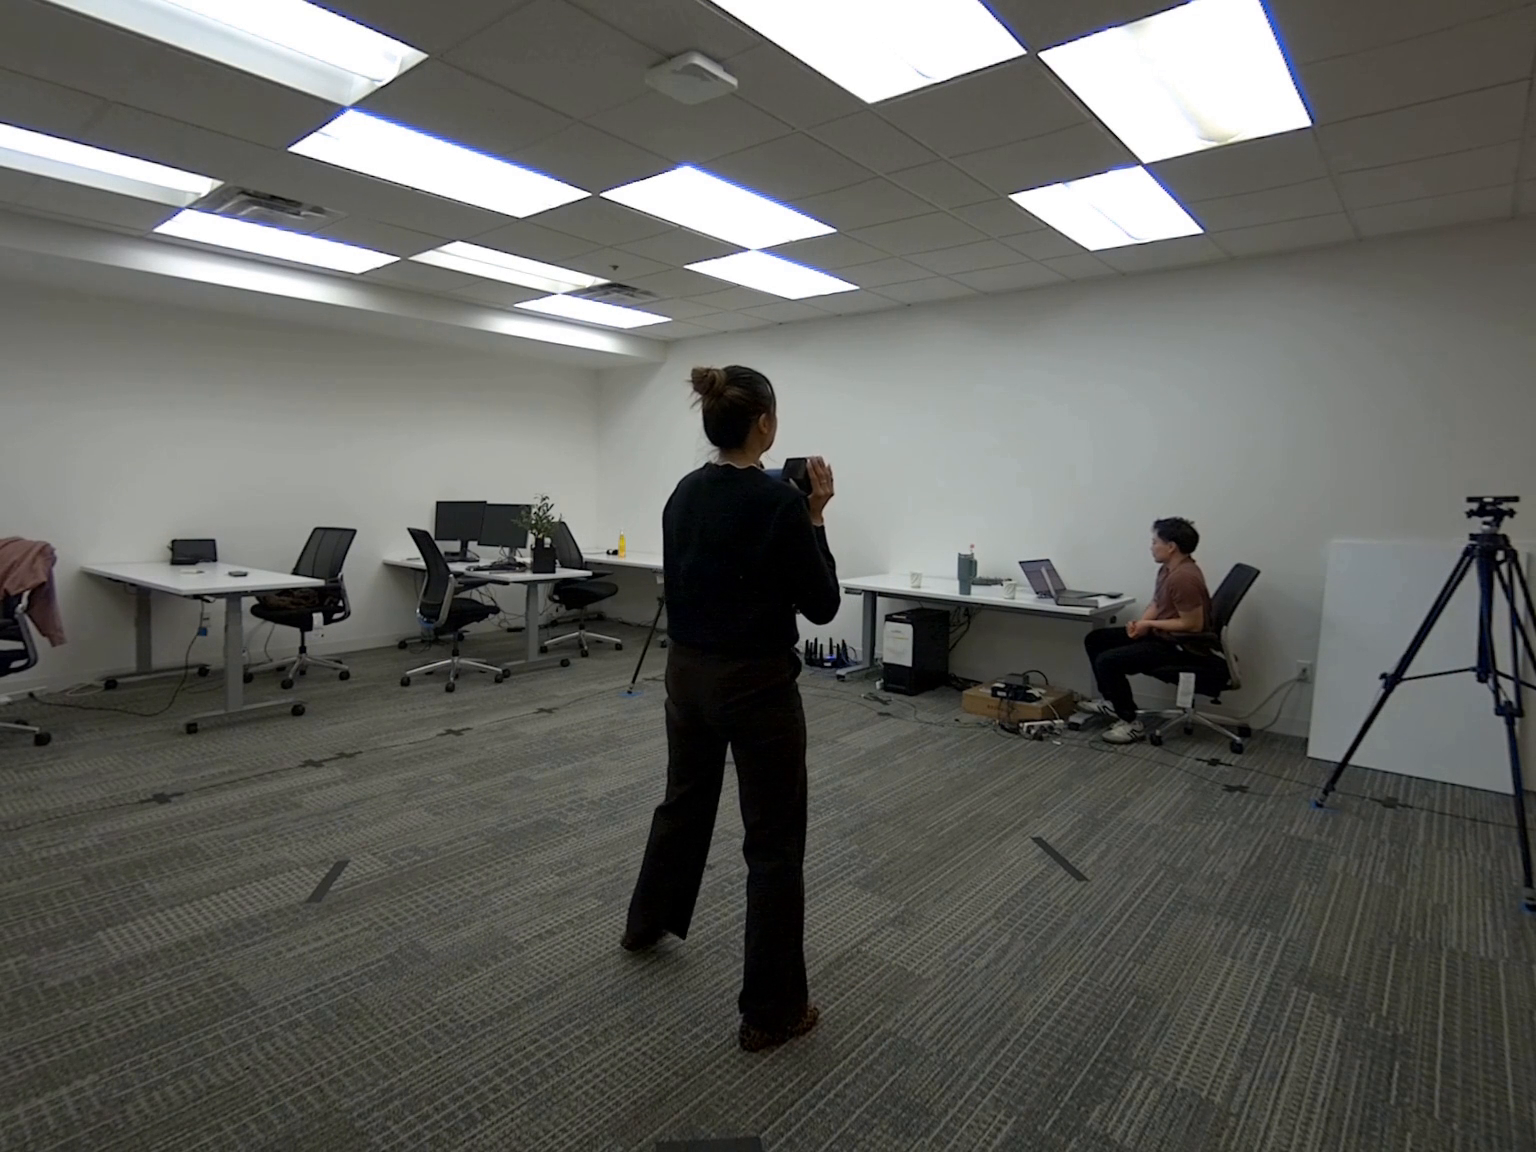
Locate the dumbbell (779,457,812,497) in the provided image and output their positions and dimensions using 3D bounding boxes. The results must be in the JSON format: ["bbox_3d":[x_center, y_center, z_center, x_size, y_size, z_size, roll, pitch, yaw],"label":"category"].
[{"bbox_3d":[0.002,-0.250,2.226,0.303,0.119,0.108,3,40,45],"label":"dumbbell"}]
